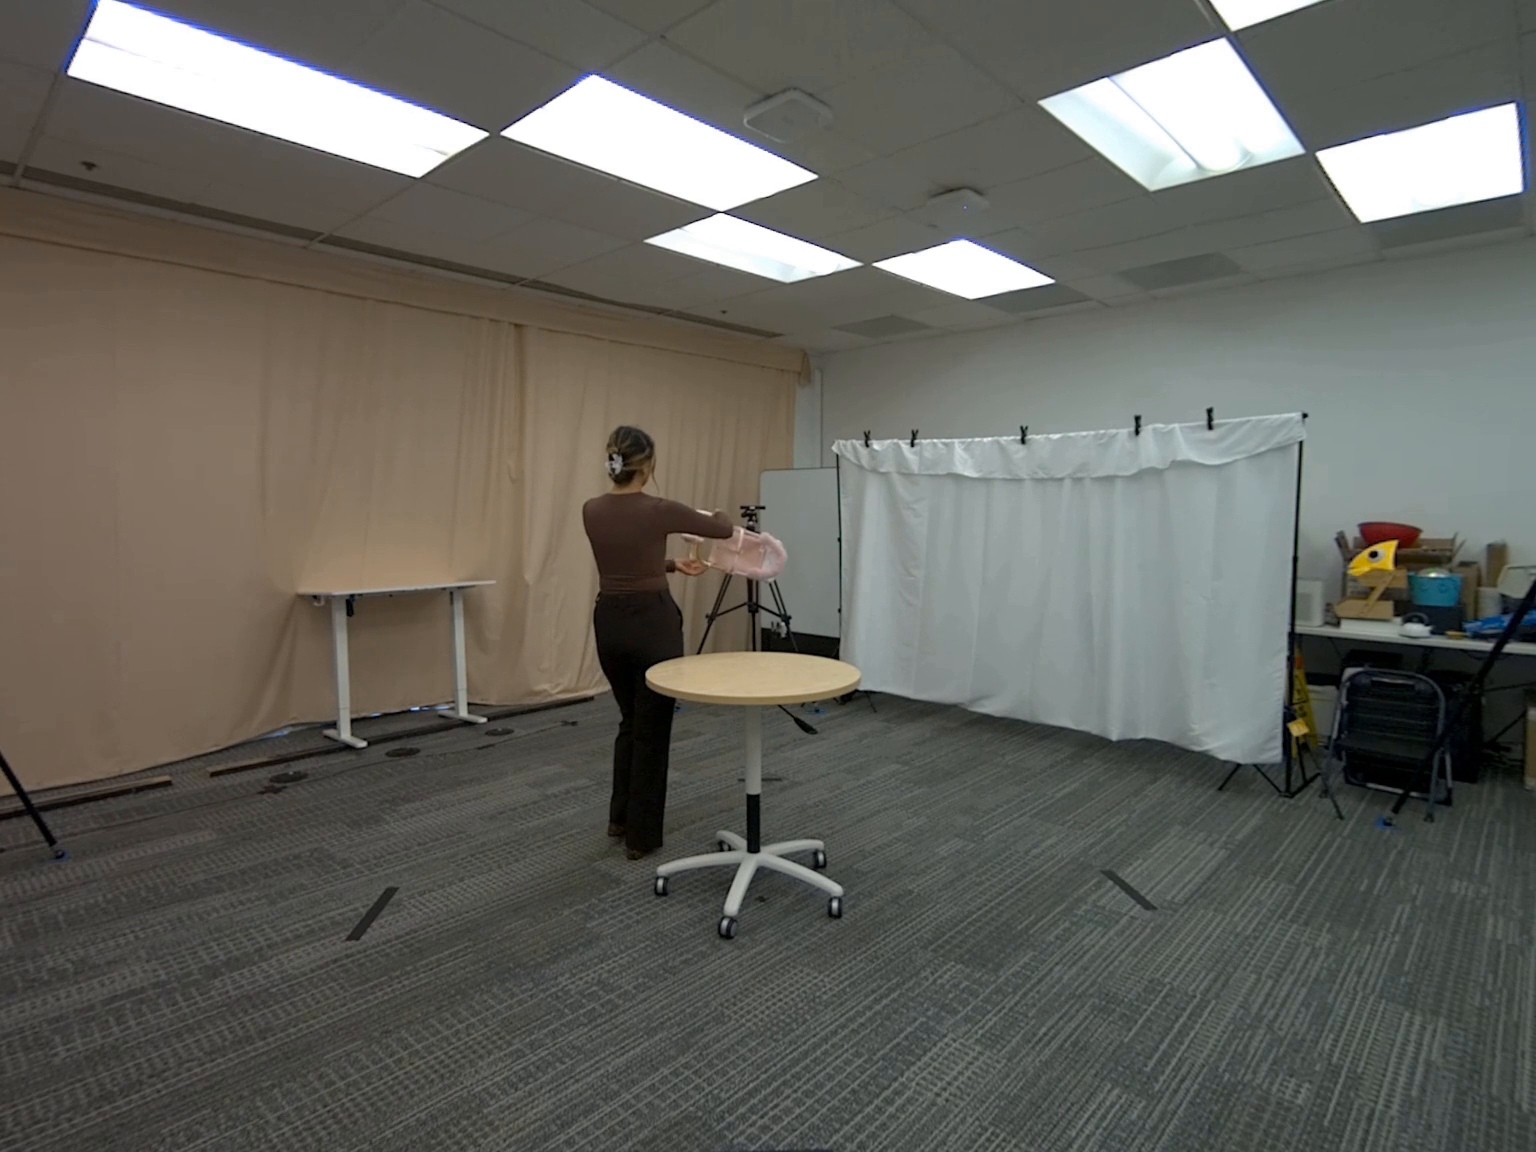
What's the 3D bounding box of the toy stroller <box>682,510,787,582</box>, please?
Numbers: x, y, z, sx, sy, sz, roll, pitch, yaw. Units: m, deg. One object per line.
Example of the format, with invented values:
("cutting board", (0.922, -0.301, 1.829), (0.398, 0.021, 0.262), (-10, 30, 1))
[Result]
("toy stroller", (-0.152, -0.116, 3.812), (0.528, 0.282, 0.345), (15, -6, -11))
